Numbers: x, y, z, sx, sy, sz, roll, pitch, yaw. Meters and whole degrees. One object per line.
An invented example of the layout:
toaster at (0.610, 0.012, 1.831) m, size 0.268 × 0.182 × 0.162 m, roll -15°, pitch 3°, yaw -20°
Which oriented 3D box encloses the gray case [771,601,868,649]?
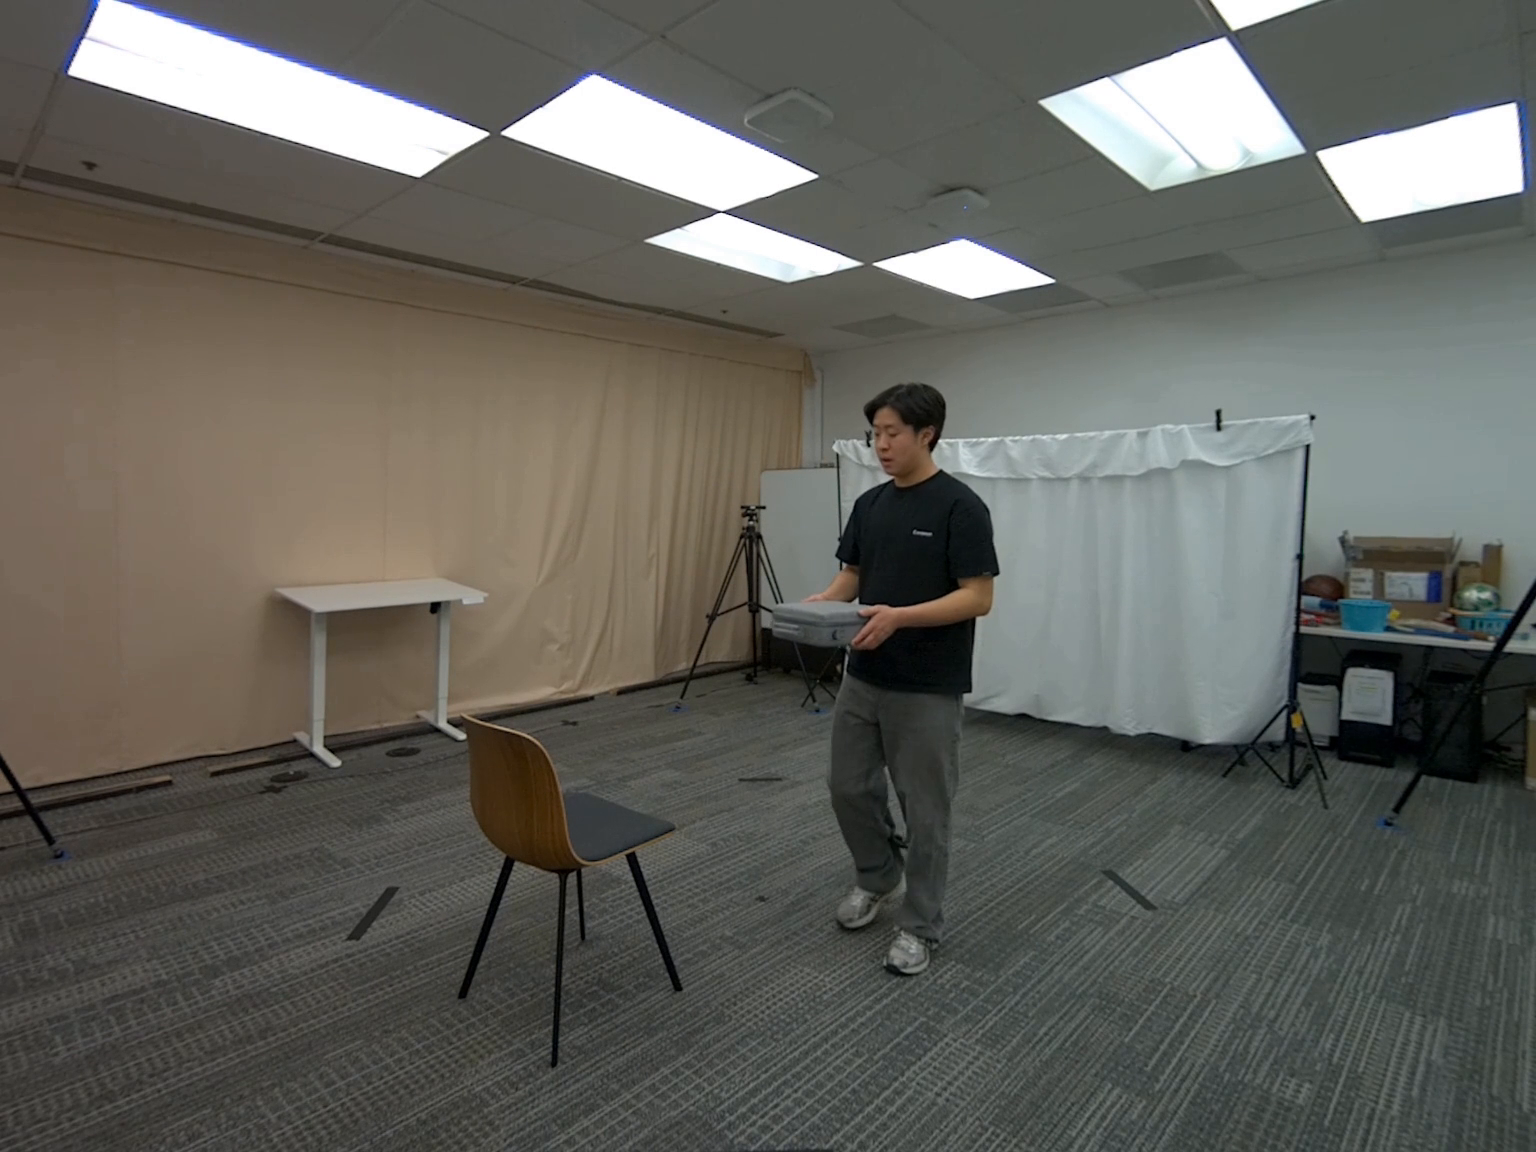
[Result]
gray case at (0.163, 0.144, 2.444) m, size 0.278 × 0.103 × 0.272 m, roll -2°, pitch 5°, yaw -36°
